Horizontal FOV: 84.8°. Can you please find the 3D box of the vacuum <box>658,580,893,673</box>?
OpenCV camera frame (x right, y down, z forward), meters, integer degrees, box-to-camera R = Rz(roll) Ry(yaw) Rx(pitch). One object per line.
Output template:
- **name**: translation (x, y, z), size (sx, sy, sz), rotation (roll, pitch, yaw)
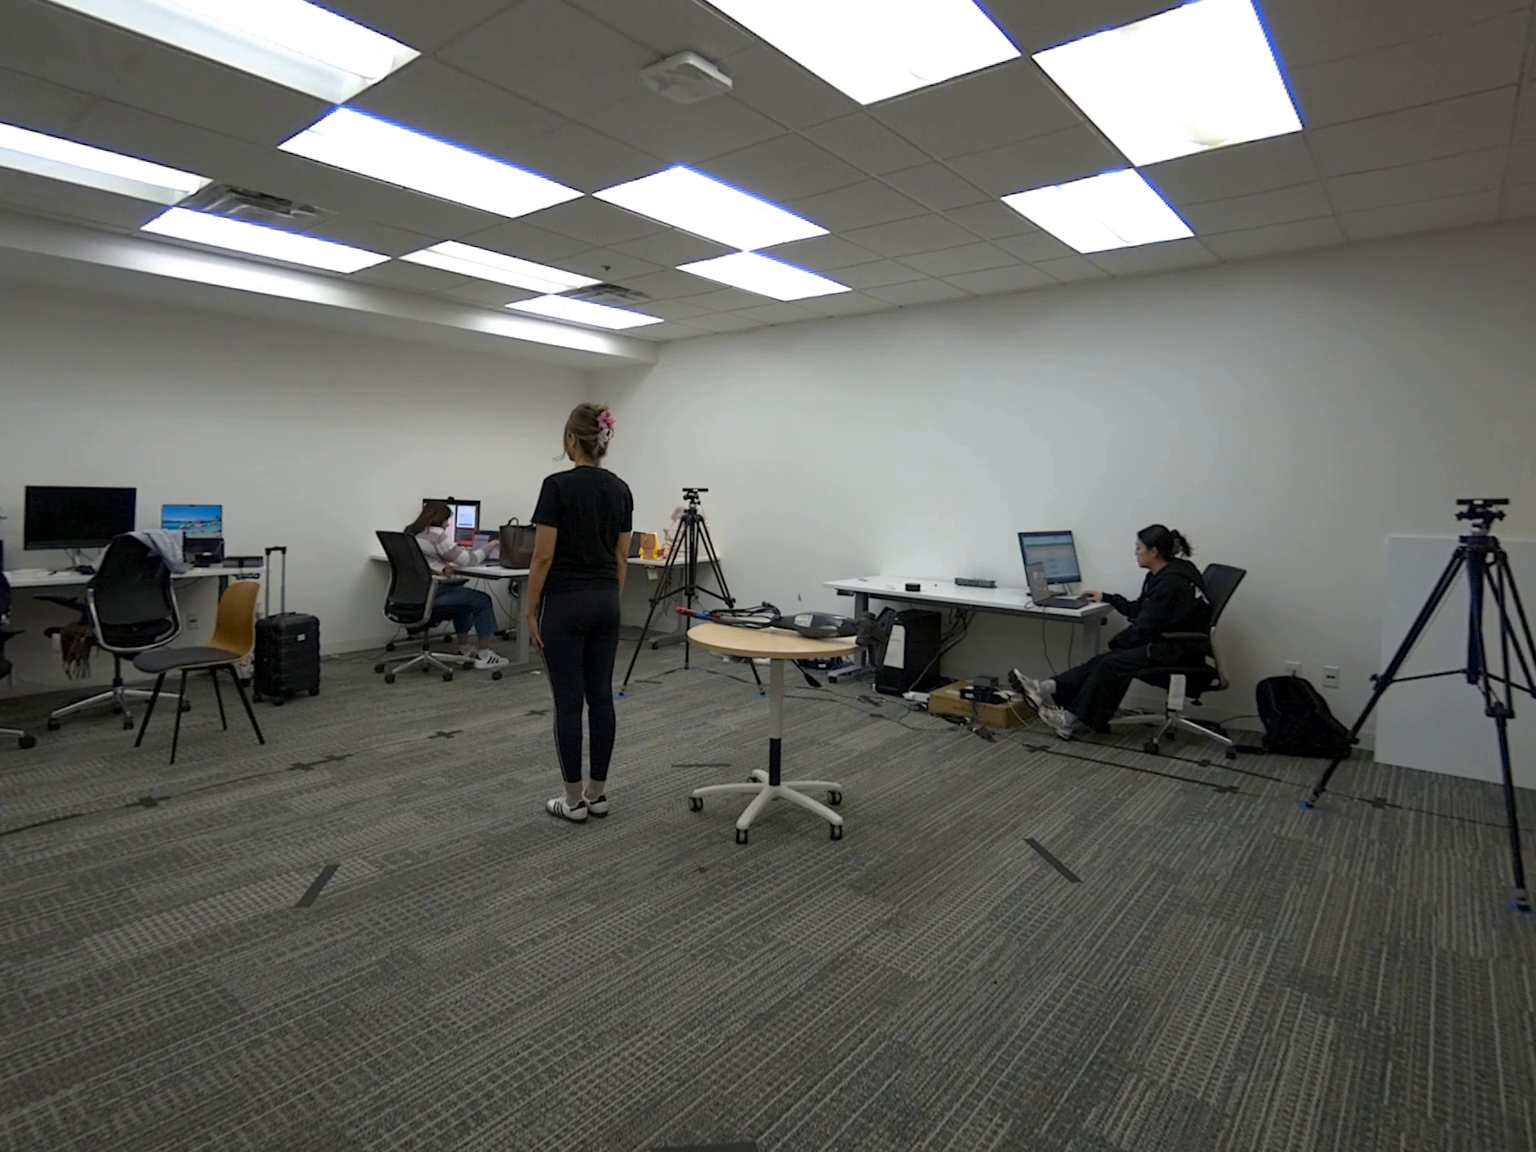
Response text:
- **vacuum**: translation (-0.002, 0.200, 3.654), size (1.083, 0.255, 0.138), rotation (5, -22, 36)
